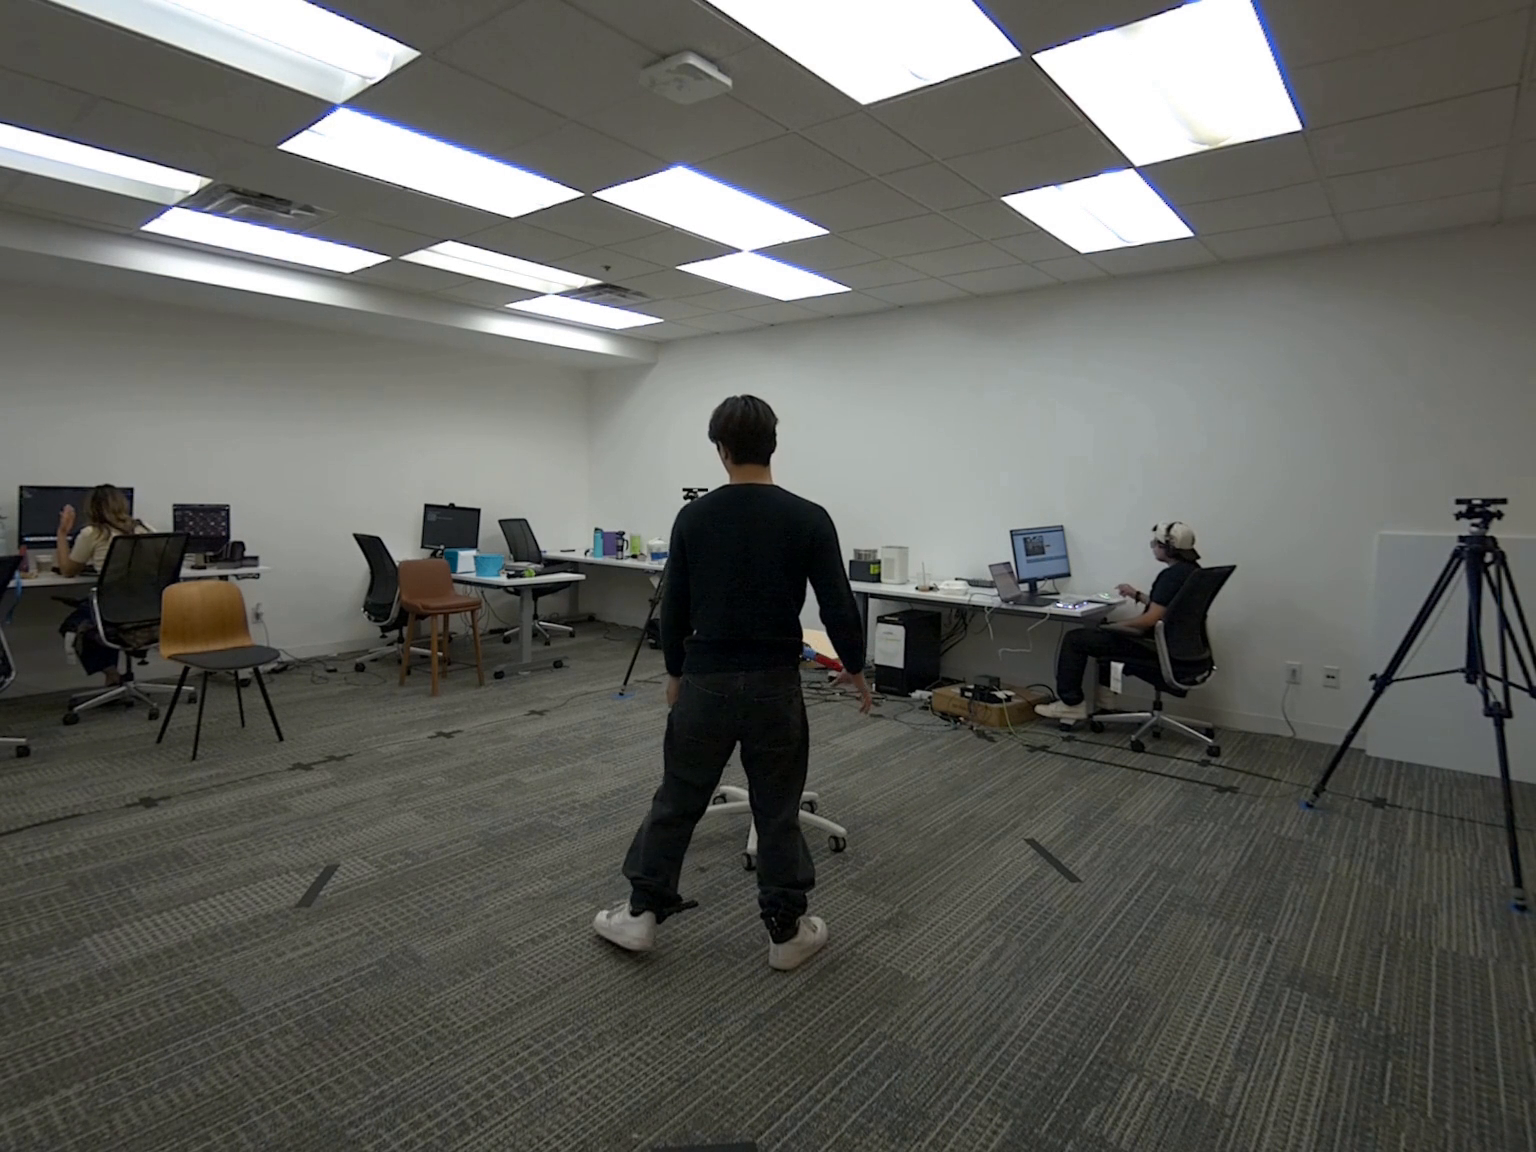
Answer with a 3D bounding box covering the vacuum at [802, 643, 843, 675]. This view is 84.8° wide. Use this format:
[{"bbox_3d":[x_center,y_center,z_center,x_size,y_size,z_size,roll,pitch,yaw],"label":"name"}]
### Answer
[{"bbox_3d":[-0.051,0.233,3.274,0.139,0.253,1.085,32,-8,-32],"label":"vacuum"}]
